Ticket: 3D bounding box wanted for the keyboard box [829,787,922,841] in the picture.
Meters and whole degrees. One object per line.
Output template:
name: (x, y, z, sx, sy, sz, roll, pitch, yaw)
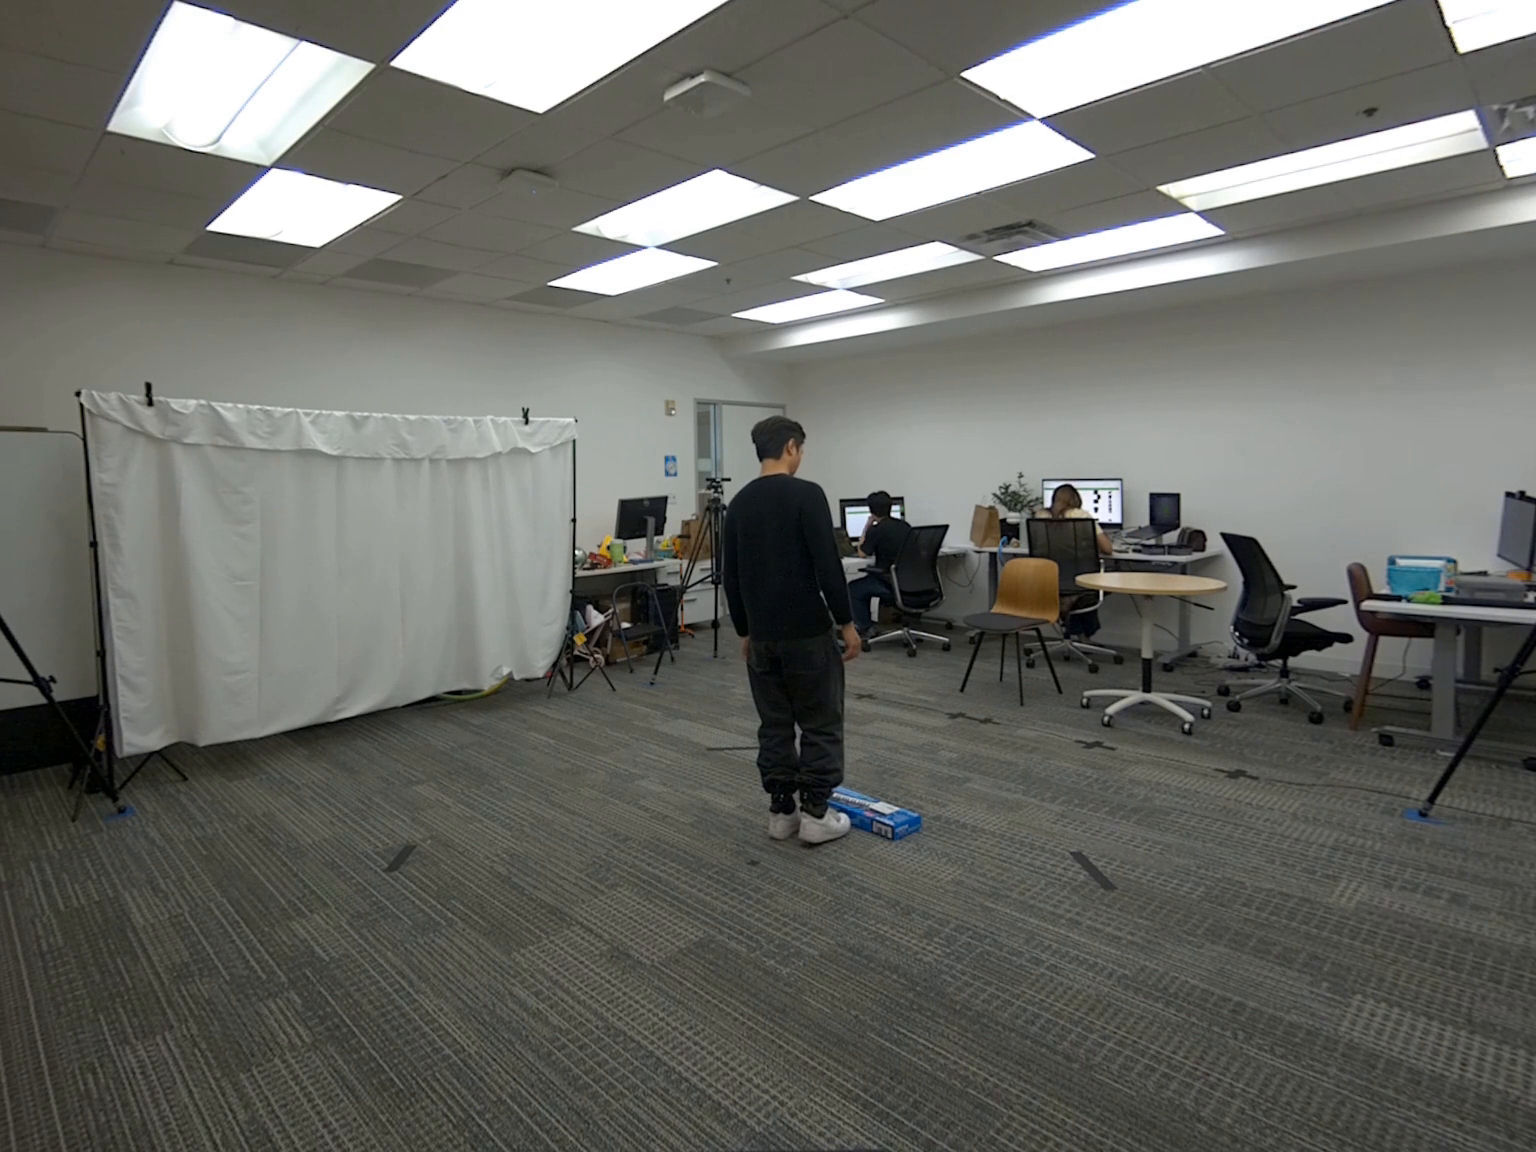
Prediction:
keyboard box: (0.396, 0.960, 3.490, 0.171, 0.059, 0.450, -5, 8, -41)
